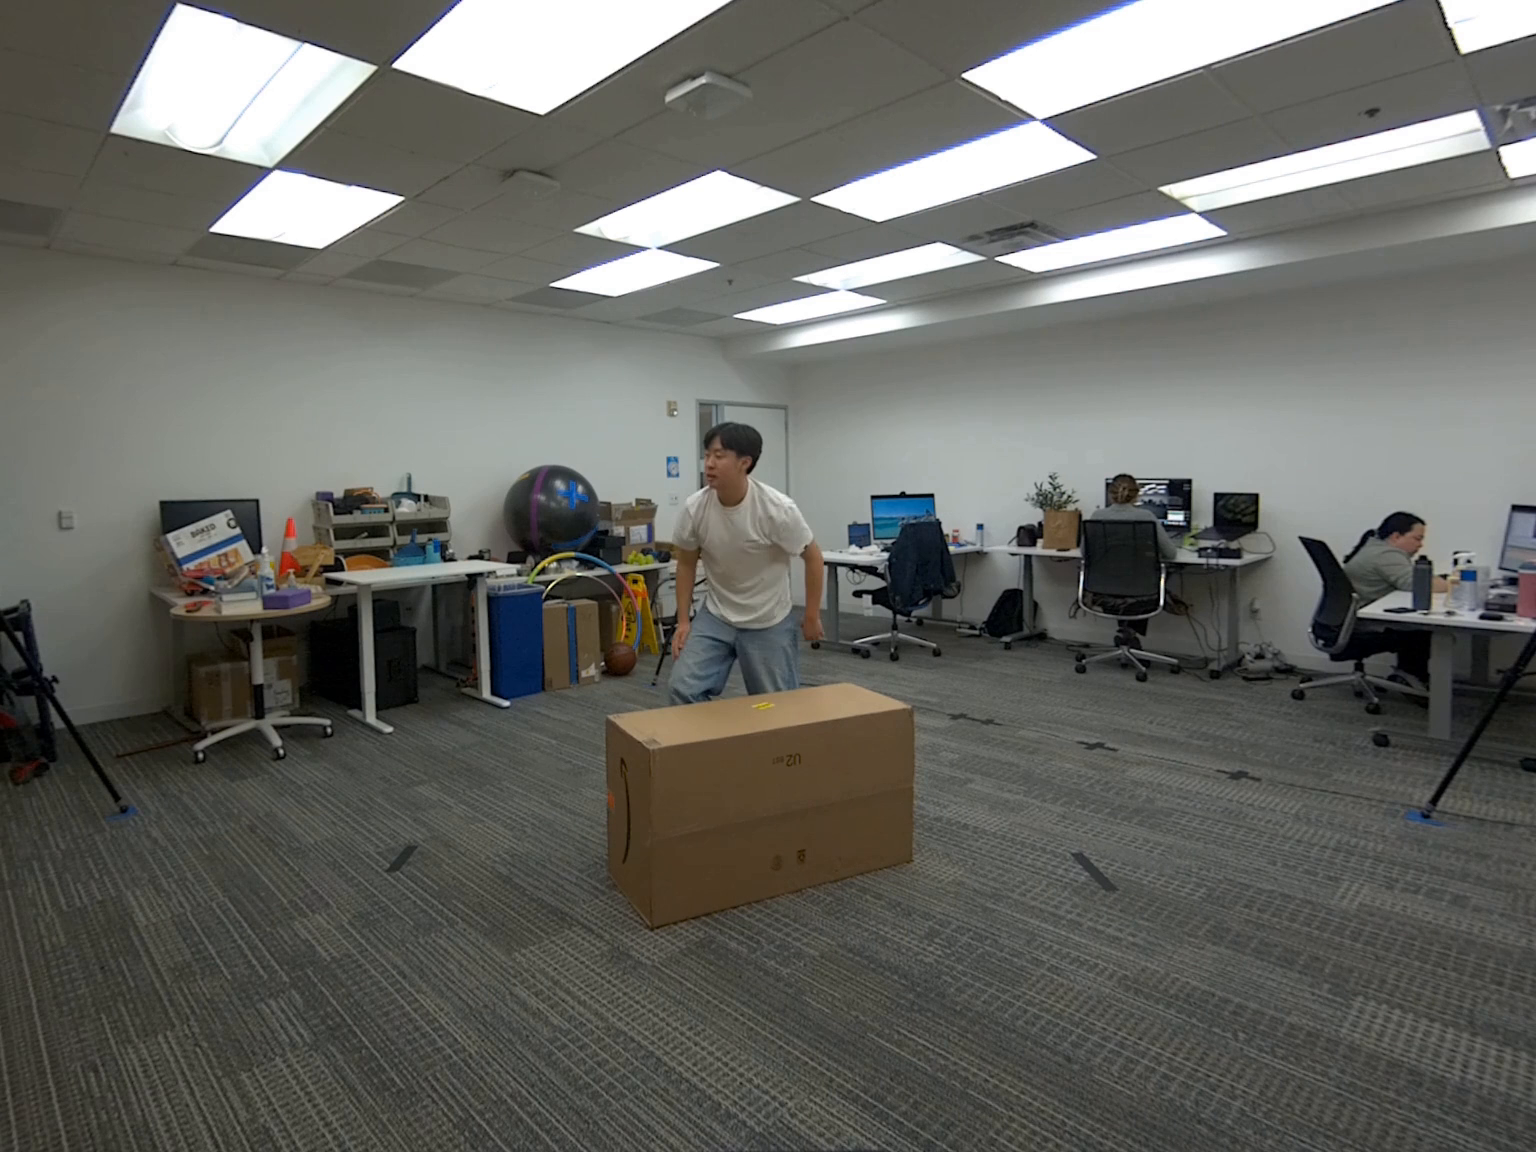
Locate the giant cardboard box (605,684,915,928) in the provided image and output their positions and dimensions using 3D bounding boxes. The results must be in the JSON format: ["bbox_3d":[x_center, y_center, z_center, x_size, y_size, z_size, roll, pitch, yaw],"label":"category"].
[{"bbox_3d":[-0.023,0.765,3.048,1.003,0.575,0.437,-3,5,-27],"label":"giant cardboard box"}]
